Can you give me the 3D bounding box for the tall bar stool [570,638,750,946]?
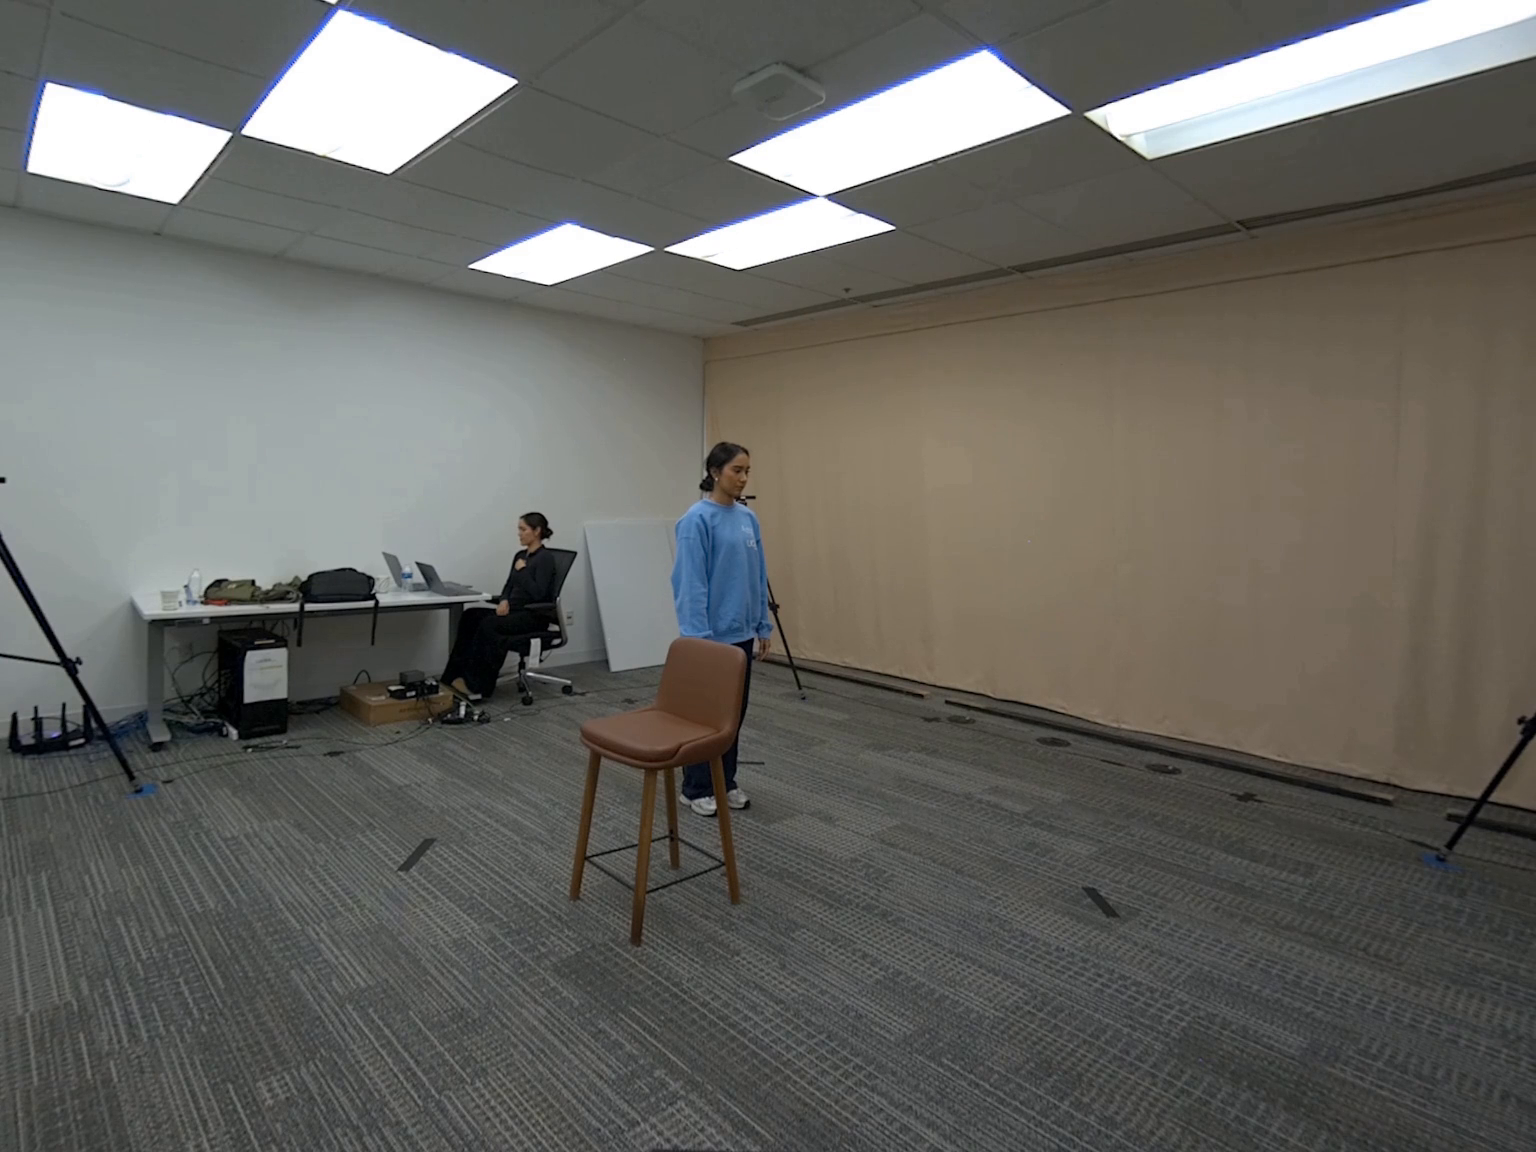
[{"bbox_3d":[-0.377,0.685,2.866,0.456,0.889,0.468,1,2,-41],"label":"tall bar stool"}]
